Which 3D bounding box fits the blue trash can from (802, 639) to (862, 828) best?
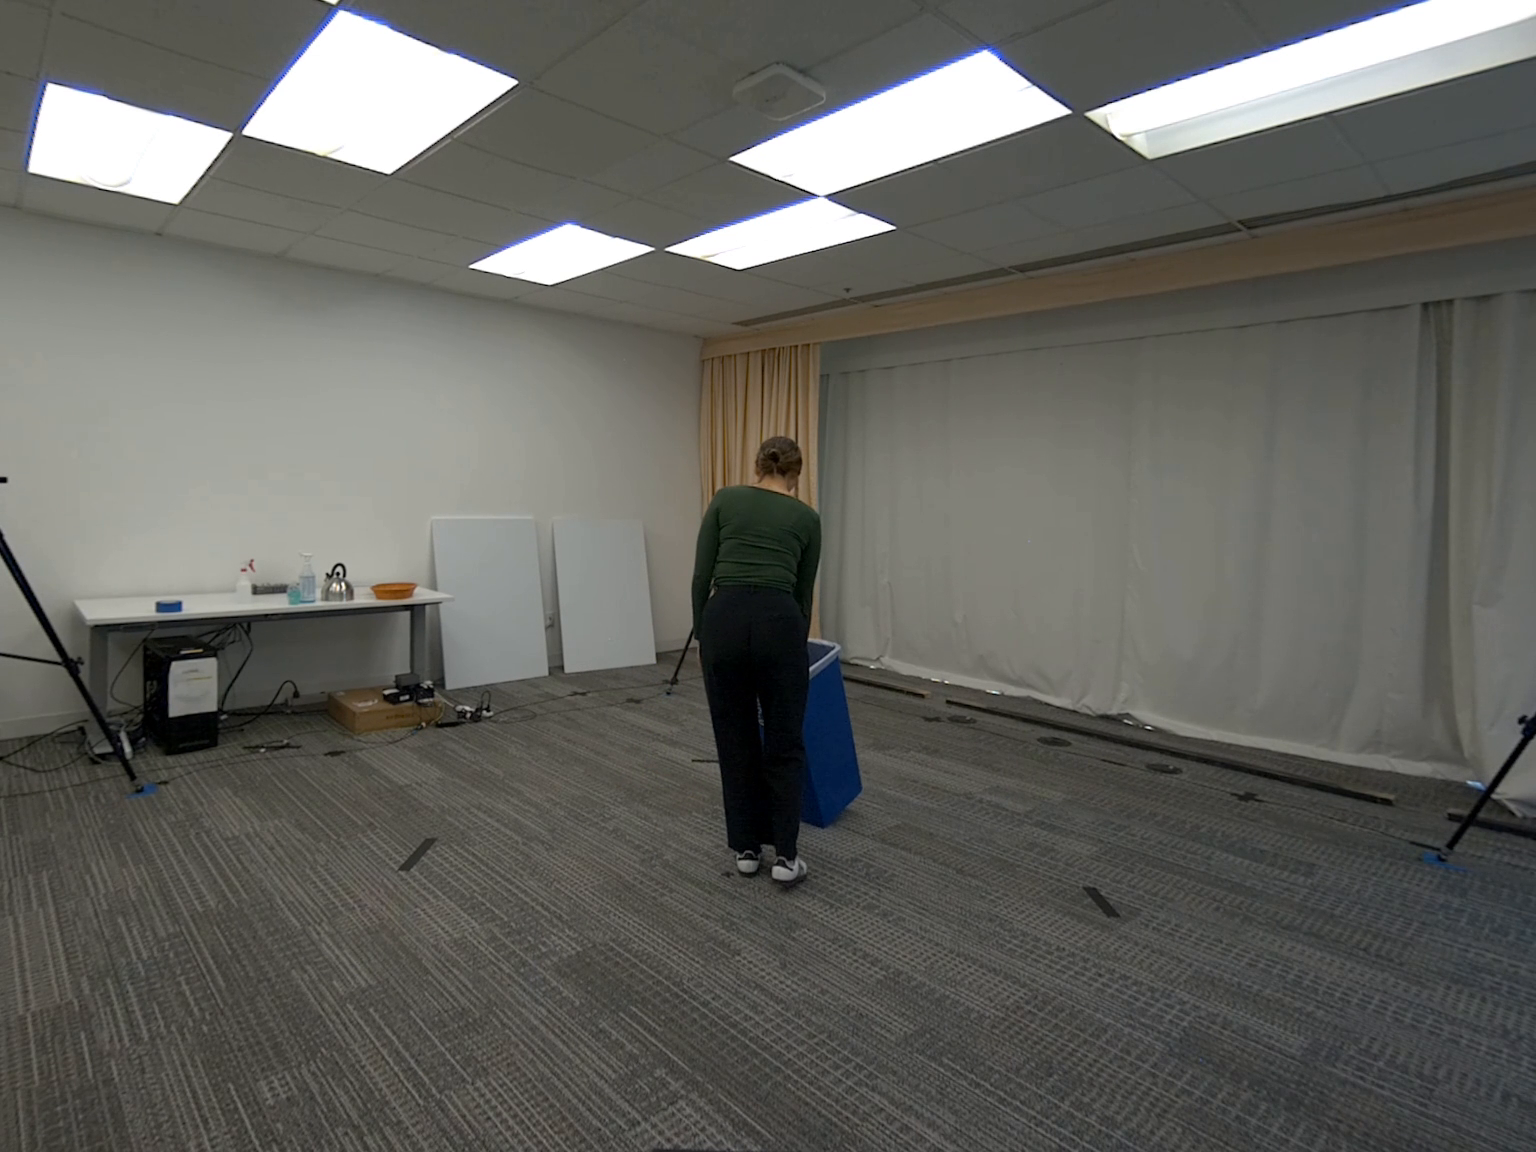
[{"bbox_3d":[0.139,0.672,3.660,0.388,0.702,0.370,5,26,44],"label":"blue trash can"}]
